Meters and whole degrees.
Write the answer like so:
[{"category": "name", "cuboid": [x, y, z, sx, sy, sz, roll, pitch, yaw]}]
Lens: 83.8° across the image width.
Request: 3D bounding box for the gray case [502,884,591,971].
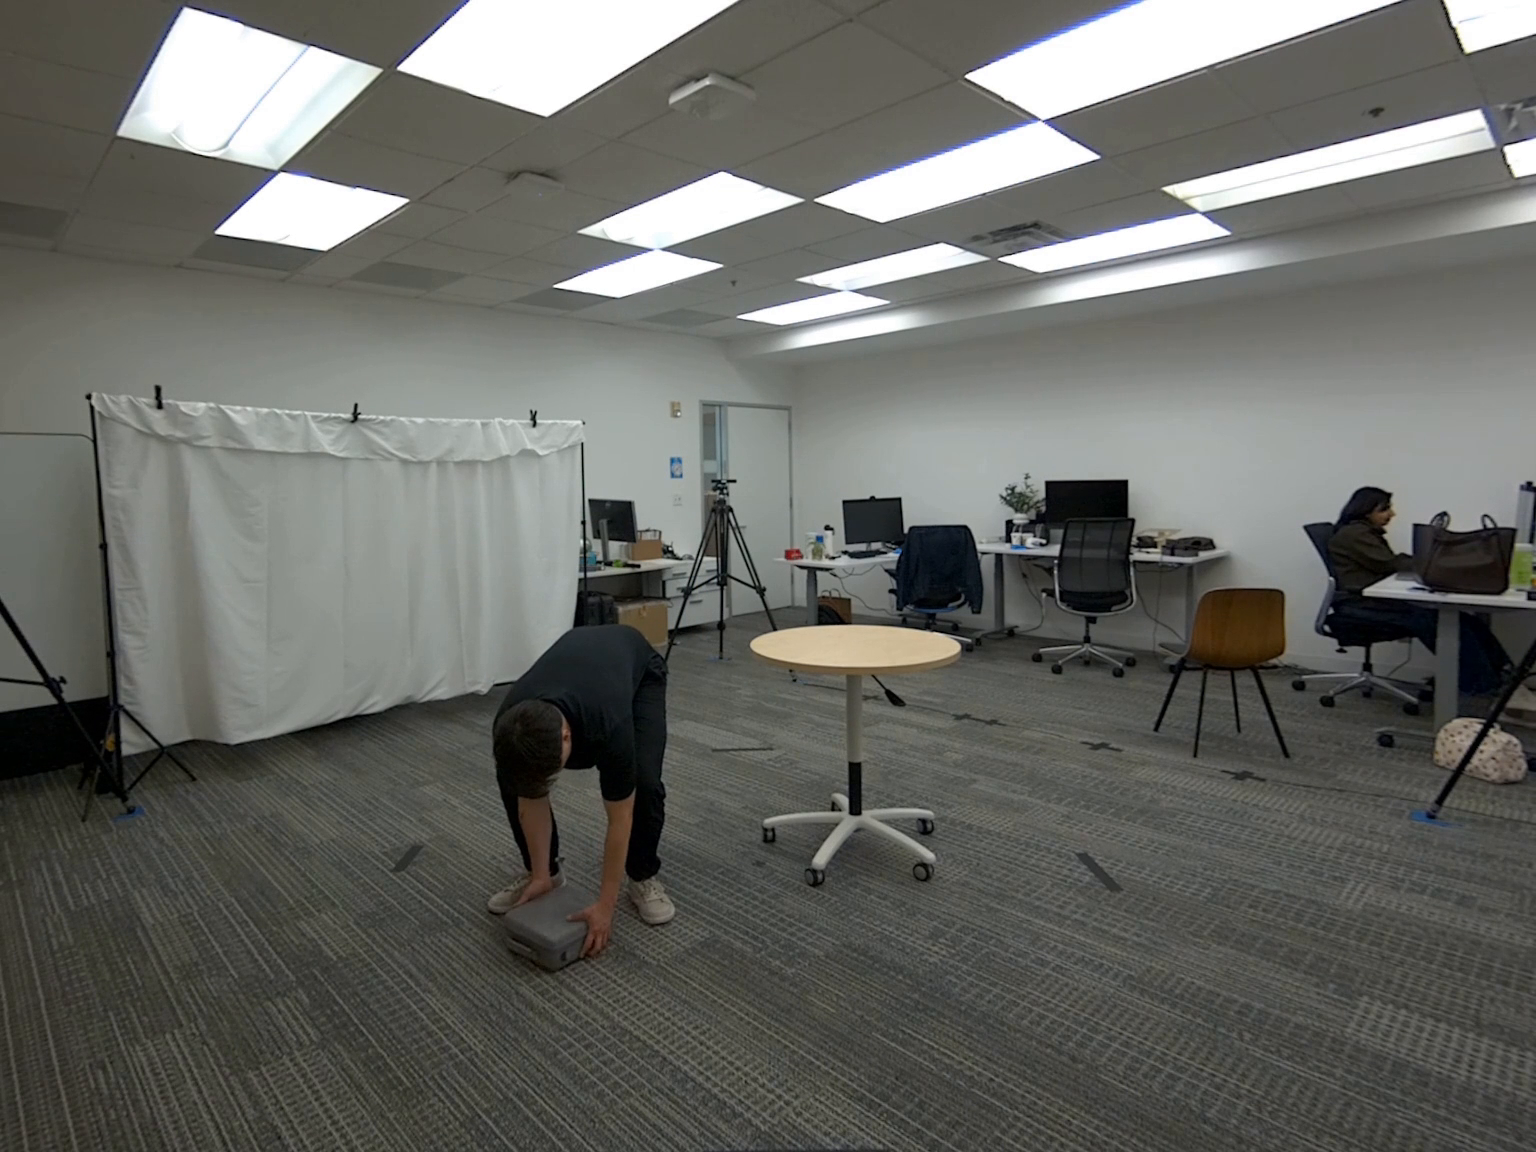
[{"category": "gray case", "cuboid": [-0.635, 1.062, 2.585, 0.265, 0.103, 0.254, 7, 12, 39]}]
